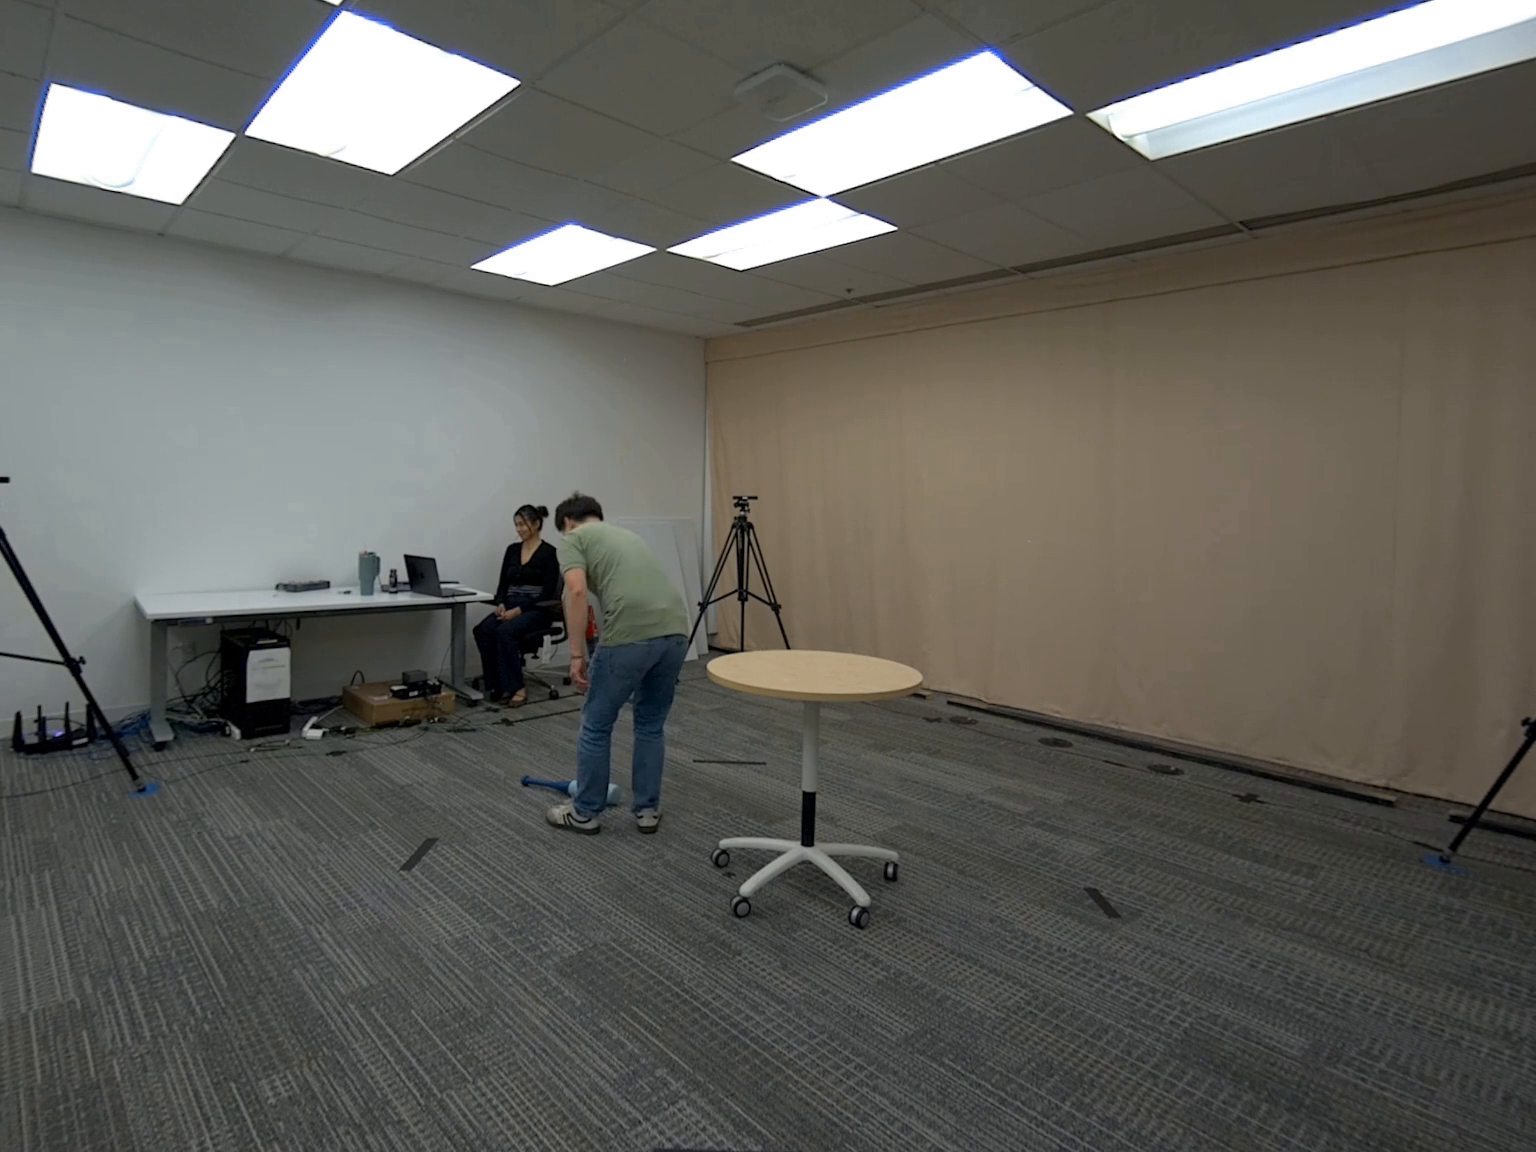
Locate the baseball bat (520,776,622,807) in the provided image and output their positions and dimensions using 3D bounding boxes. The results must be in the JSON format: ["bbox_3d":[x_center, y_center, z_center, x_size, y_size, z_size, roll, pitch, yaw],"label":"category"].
[{"bbox_3d":[-0.930,0.980,3.890,0.554,0.089,0.087,1,4,27],"label":"baseball bat"}]
